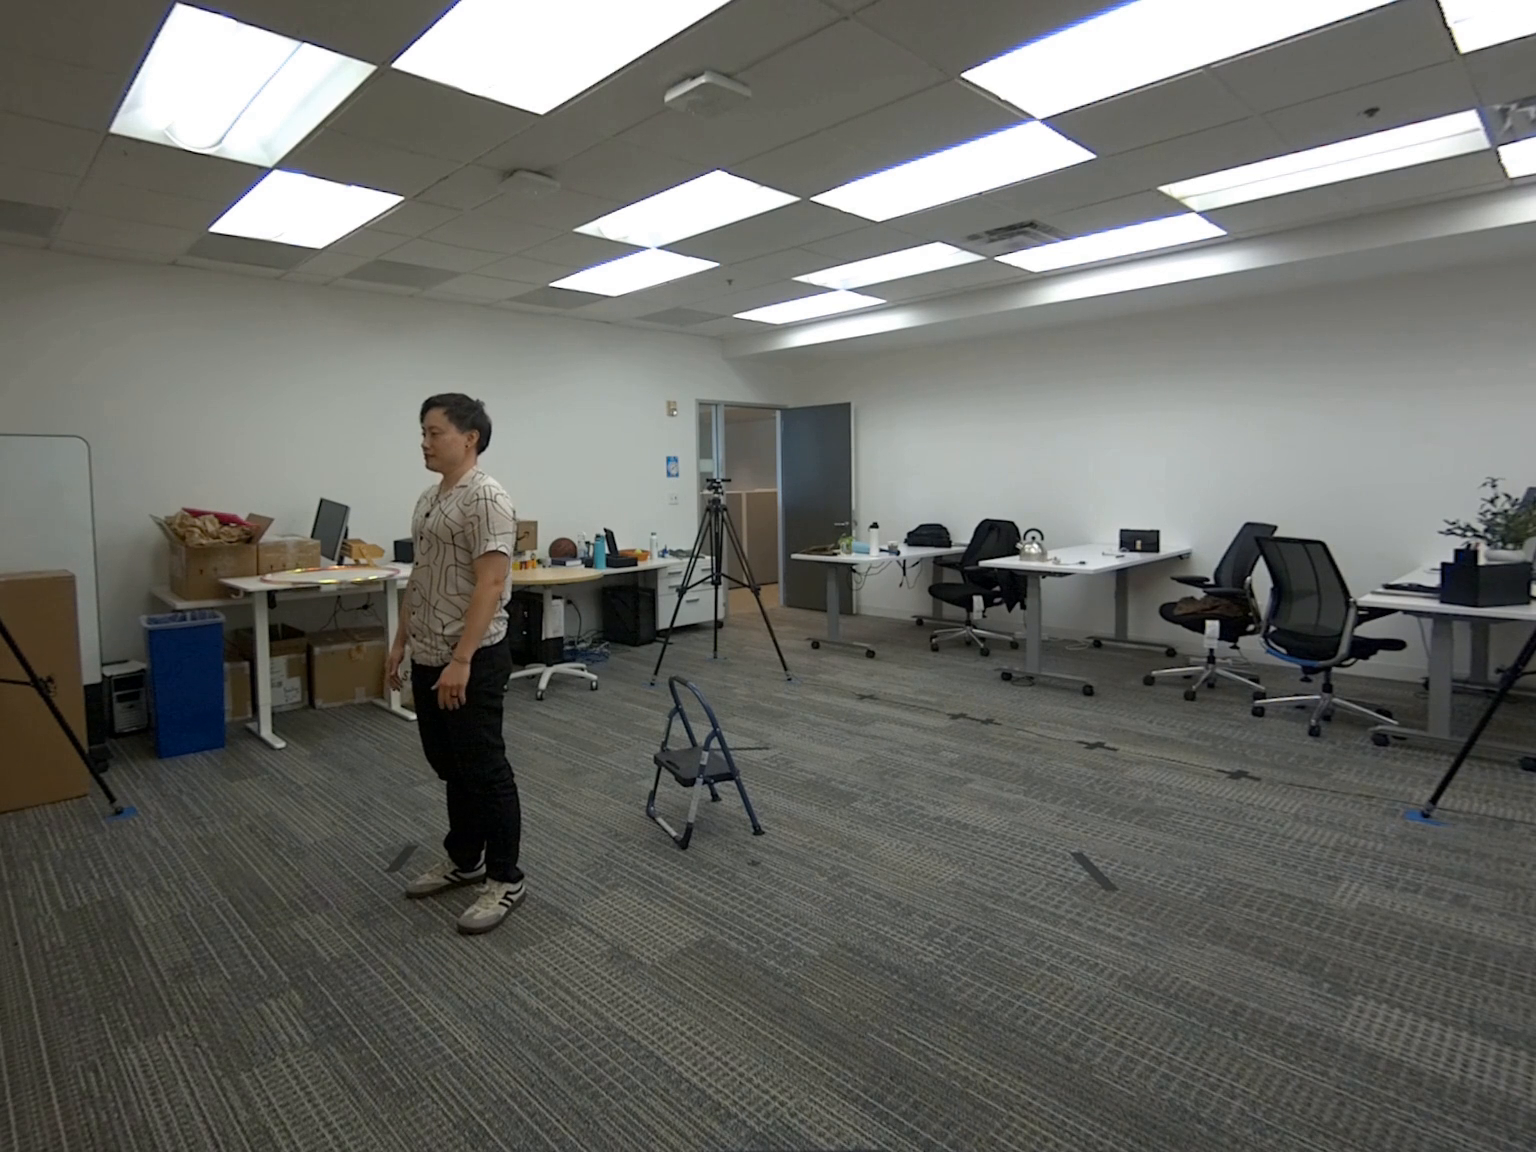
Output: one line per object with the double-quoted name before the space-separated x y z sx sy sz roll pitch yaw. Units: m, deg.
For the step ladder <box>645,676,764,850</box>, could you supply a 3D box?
"step ladder" -0.270 0.703 3.462 0.341 0.604 0.442 -3 5 -28
